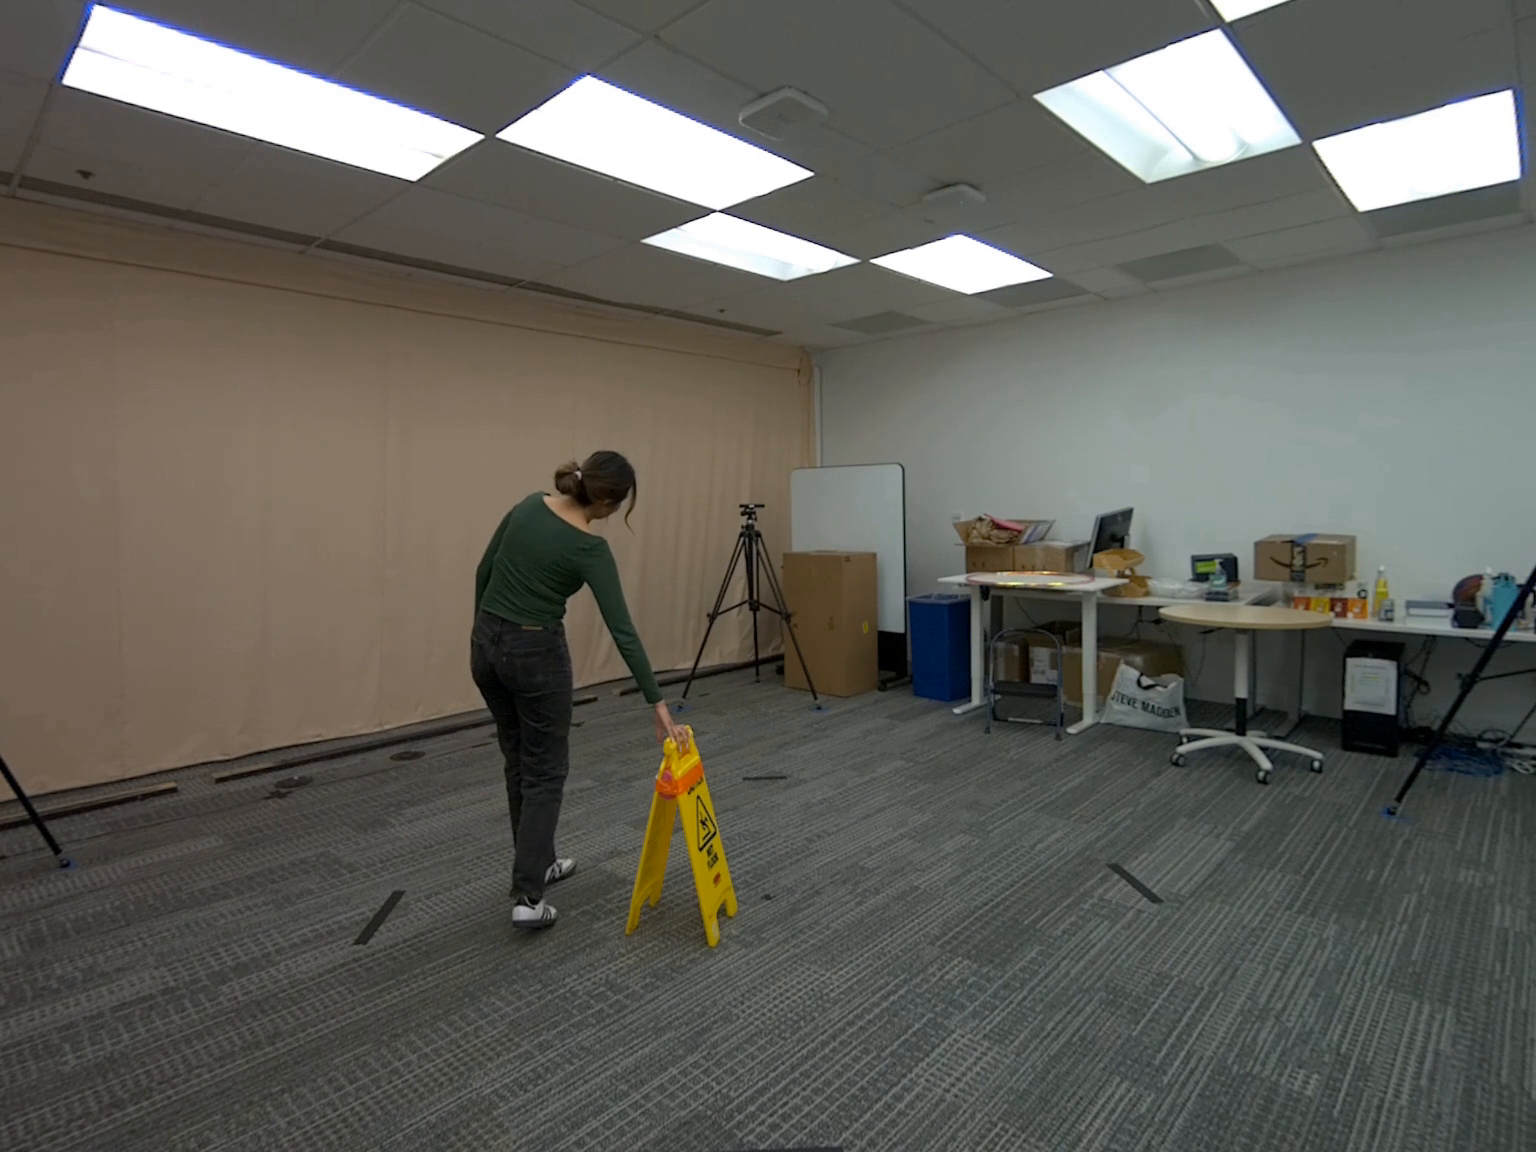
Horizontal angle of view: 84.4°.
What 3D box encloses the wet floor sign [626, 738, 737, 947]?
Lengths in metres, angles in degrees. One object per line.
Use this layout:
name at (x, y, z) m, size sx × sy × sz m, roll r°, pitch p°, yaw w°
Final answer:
wet floor sign at (-0.286, 0.840, 2.802) m, size 0.295 × 0.644 × 0.278 m, roll 1°, pitch 5°, yaw 17°
